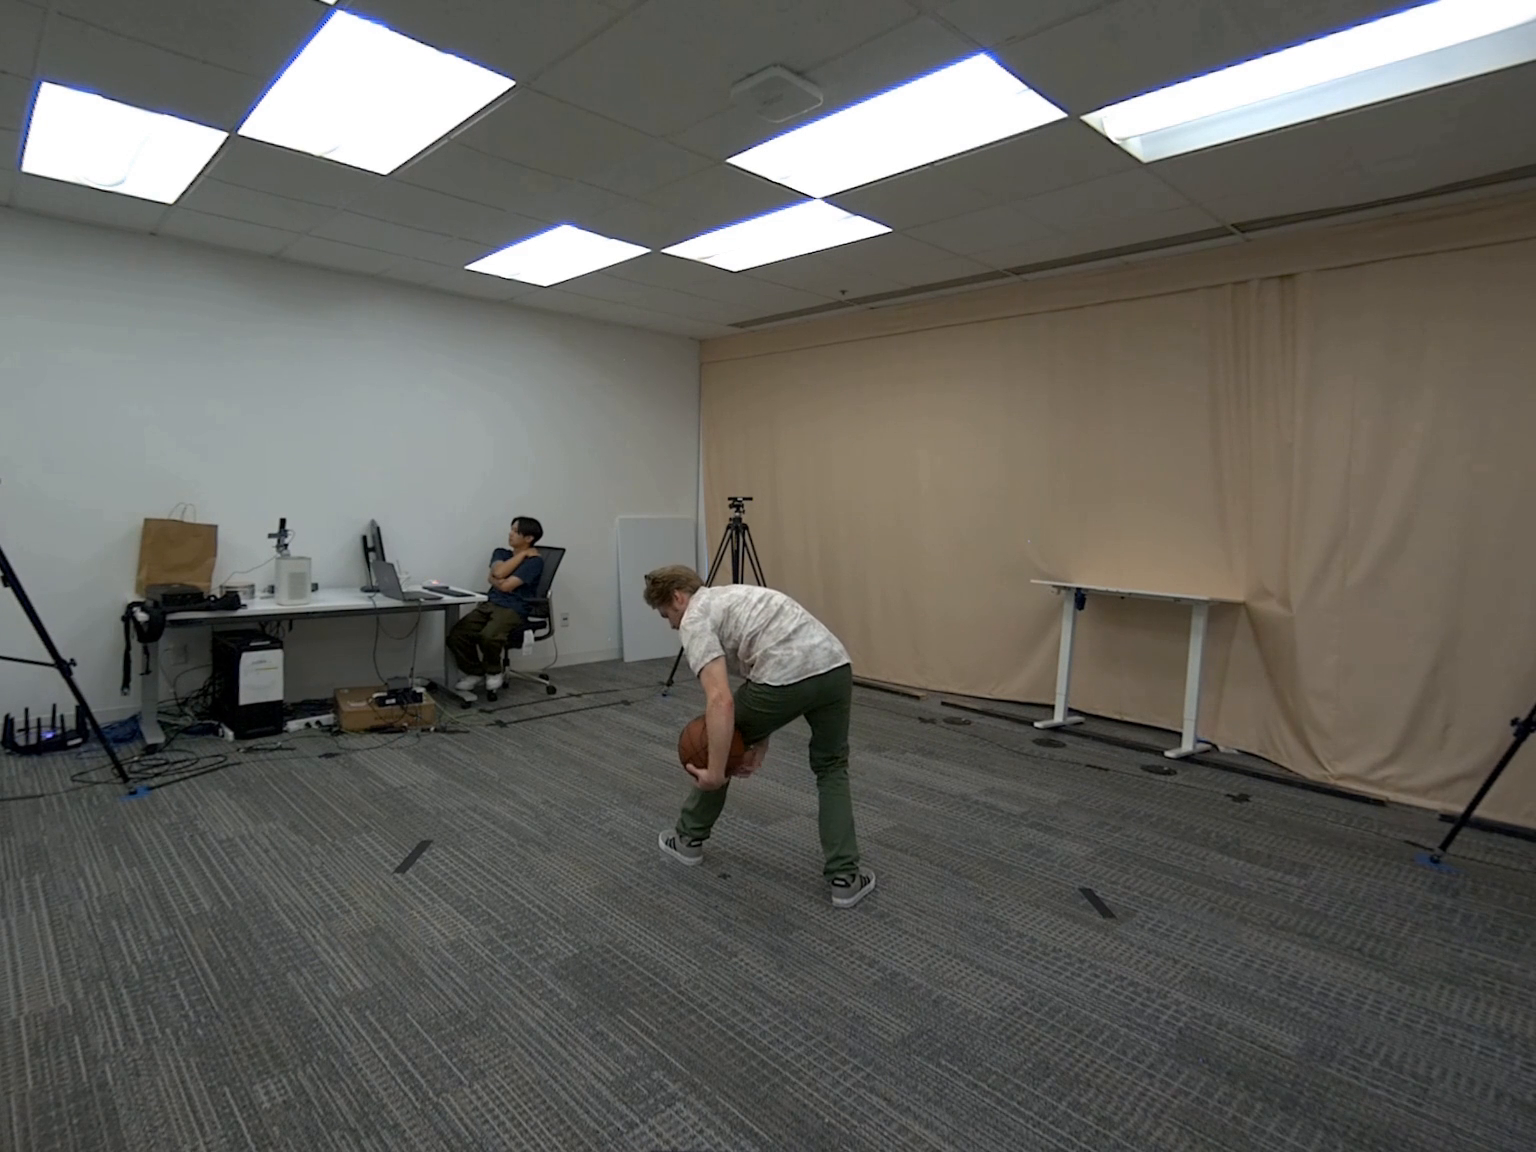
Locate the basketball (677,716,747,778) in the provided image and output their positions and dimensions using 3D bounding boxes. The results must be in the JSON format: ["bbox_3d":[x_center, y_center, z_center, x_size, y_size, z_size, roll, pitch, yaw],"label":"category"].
[{"bbox_3d":[-0.219,0.616,3.003,0.236,0.235,0.237,1,4,-1],"label":"basketball"}]
